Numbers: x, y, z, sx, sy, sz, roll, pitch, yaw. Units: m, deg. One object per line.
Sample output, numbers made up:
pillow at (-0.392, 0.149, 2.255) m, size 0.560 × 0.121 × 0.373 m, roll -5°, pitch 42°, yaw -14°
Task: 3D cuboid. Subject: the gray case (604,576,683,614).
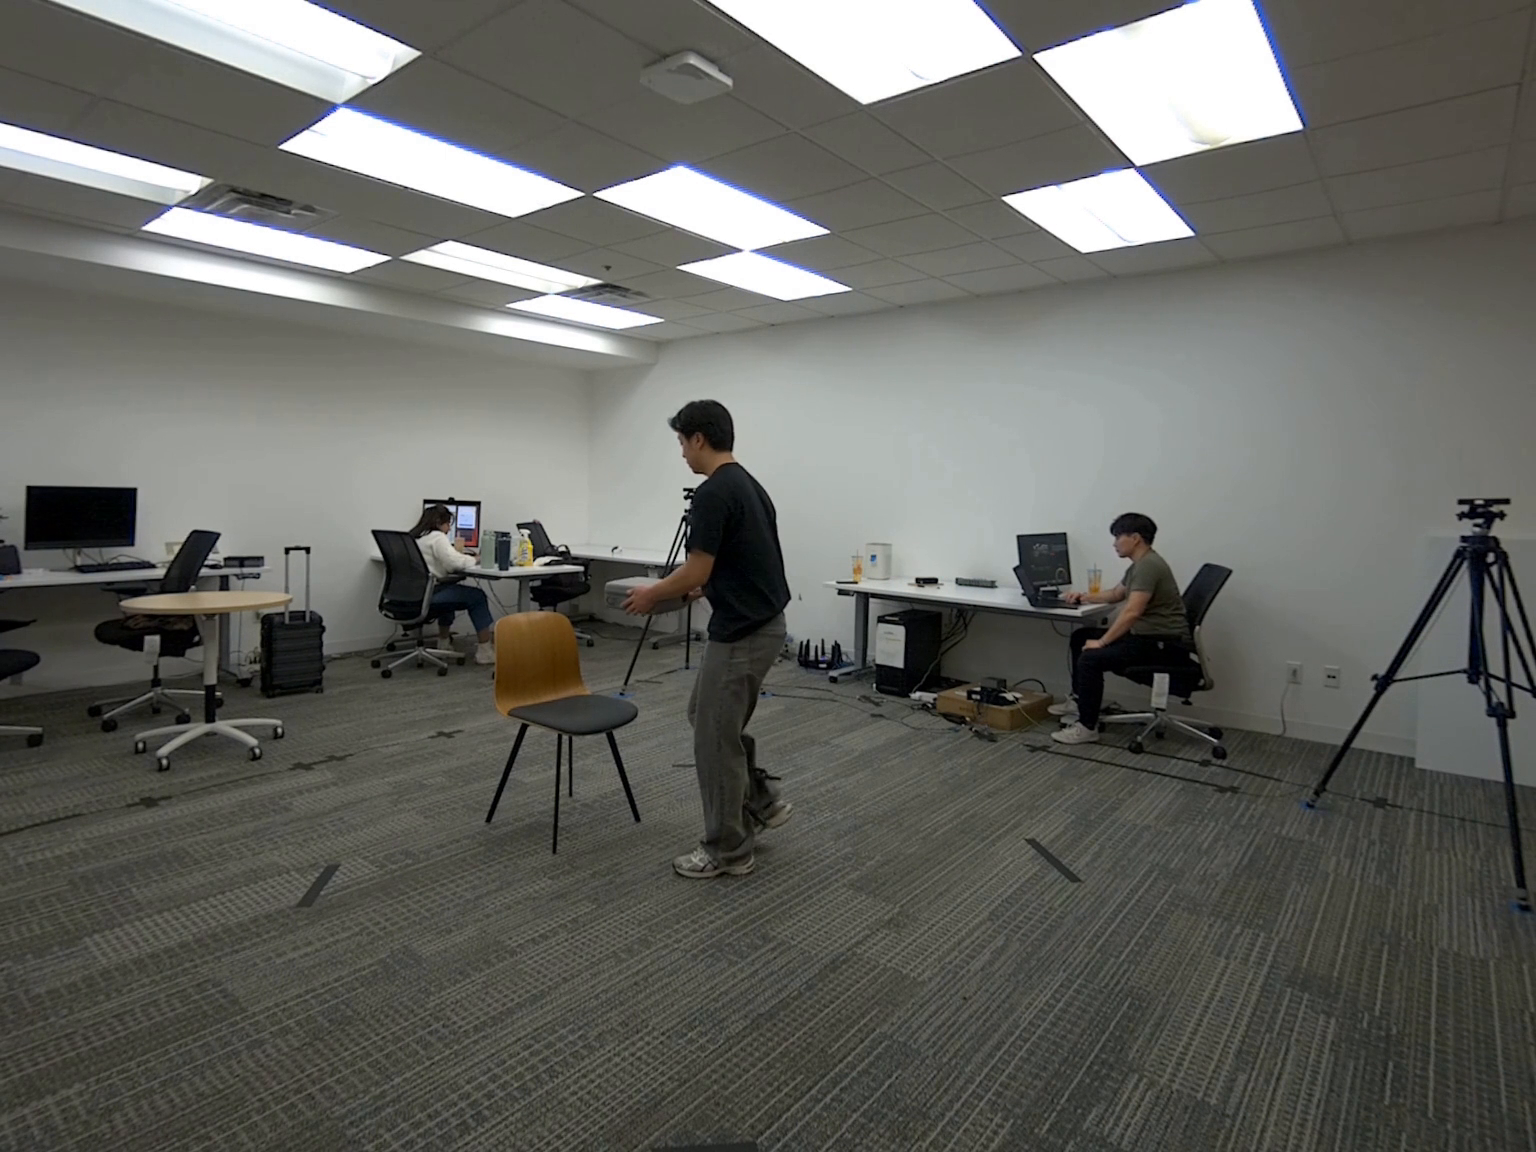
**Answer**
gray case at (-0.497, 0.076, 3.316) m, size 0.295 × 0.102 × 0.257 m, roll 5°, pitch 8°, yaw 28°
